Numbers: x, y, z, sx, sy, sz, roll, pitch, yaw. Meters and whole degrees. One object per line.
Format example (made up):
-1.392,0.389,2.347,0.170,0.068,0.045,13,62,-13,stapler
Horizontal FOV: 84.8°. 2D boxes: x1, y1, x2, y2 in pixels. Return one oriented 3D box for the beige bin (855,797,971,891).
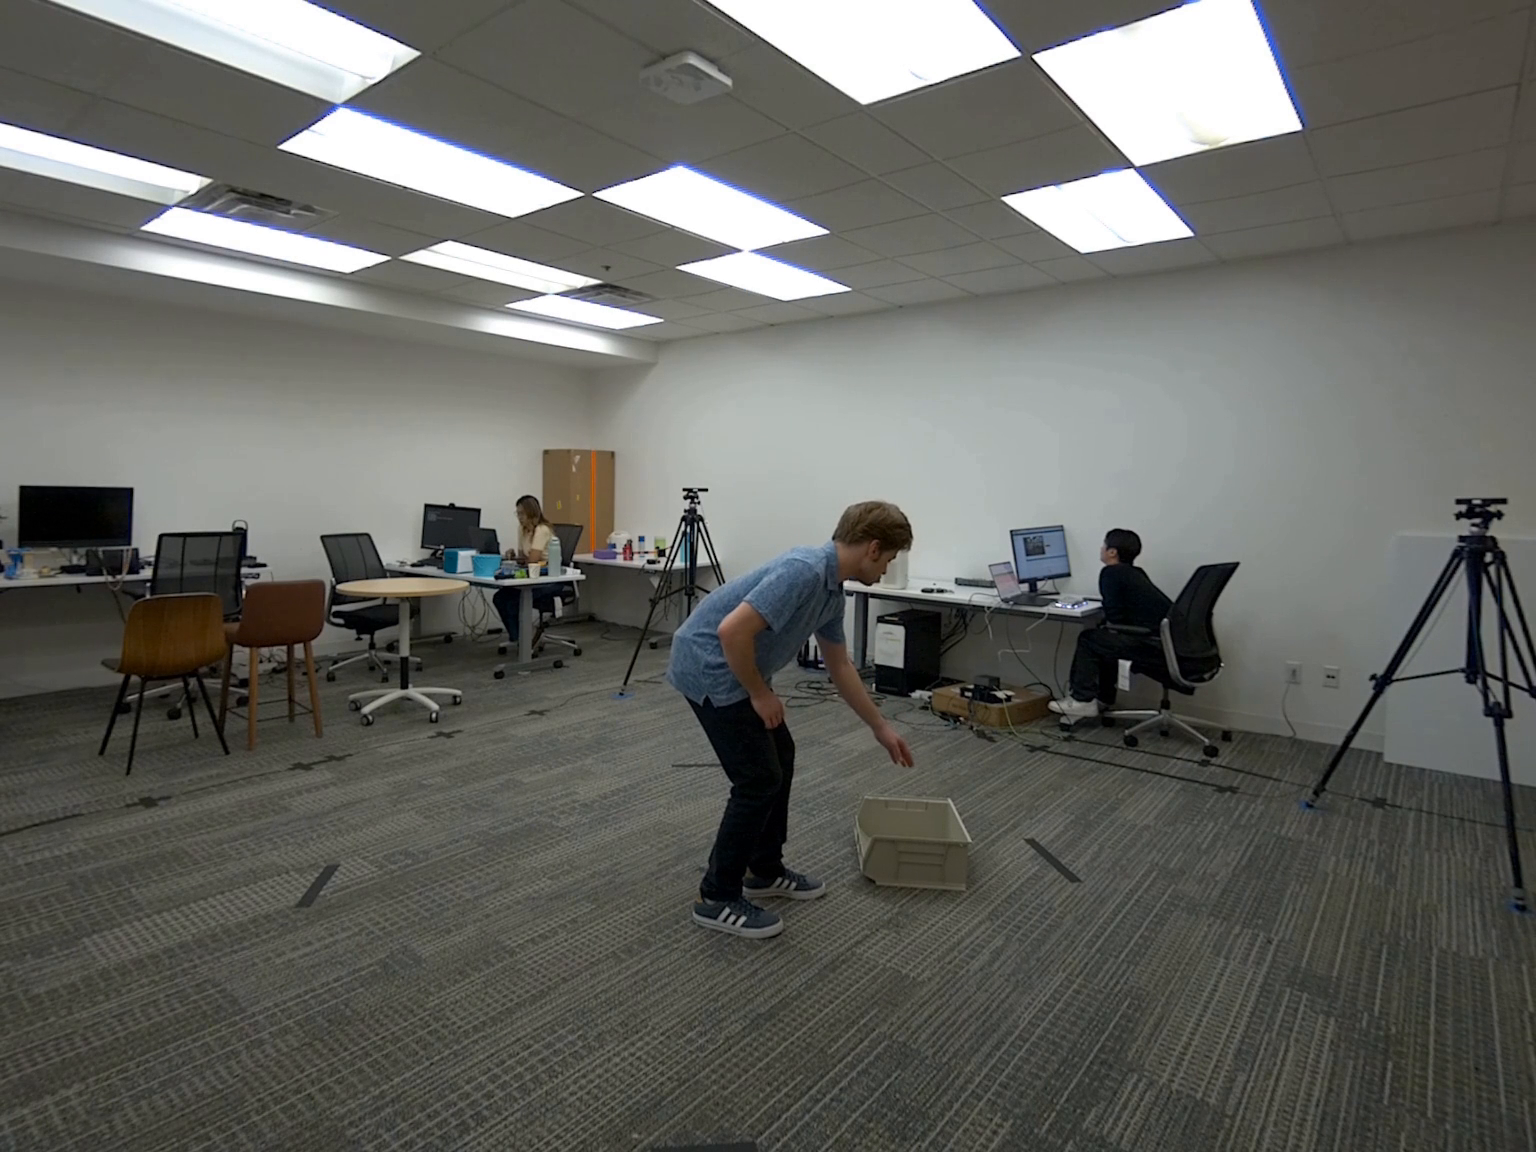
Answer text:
0.525,0.989,3.202,0.379,0.188,0.422,2,5,3,beige bin
